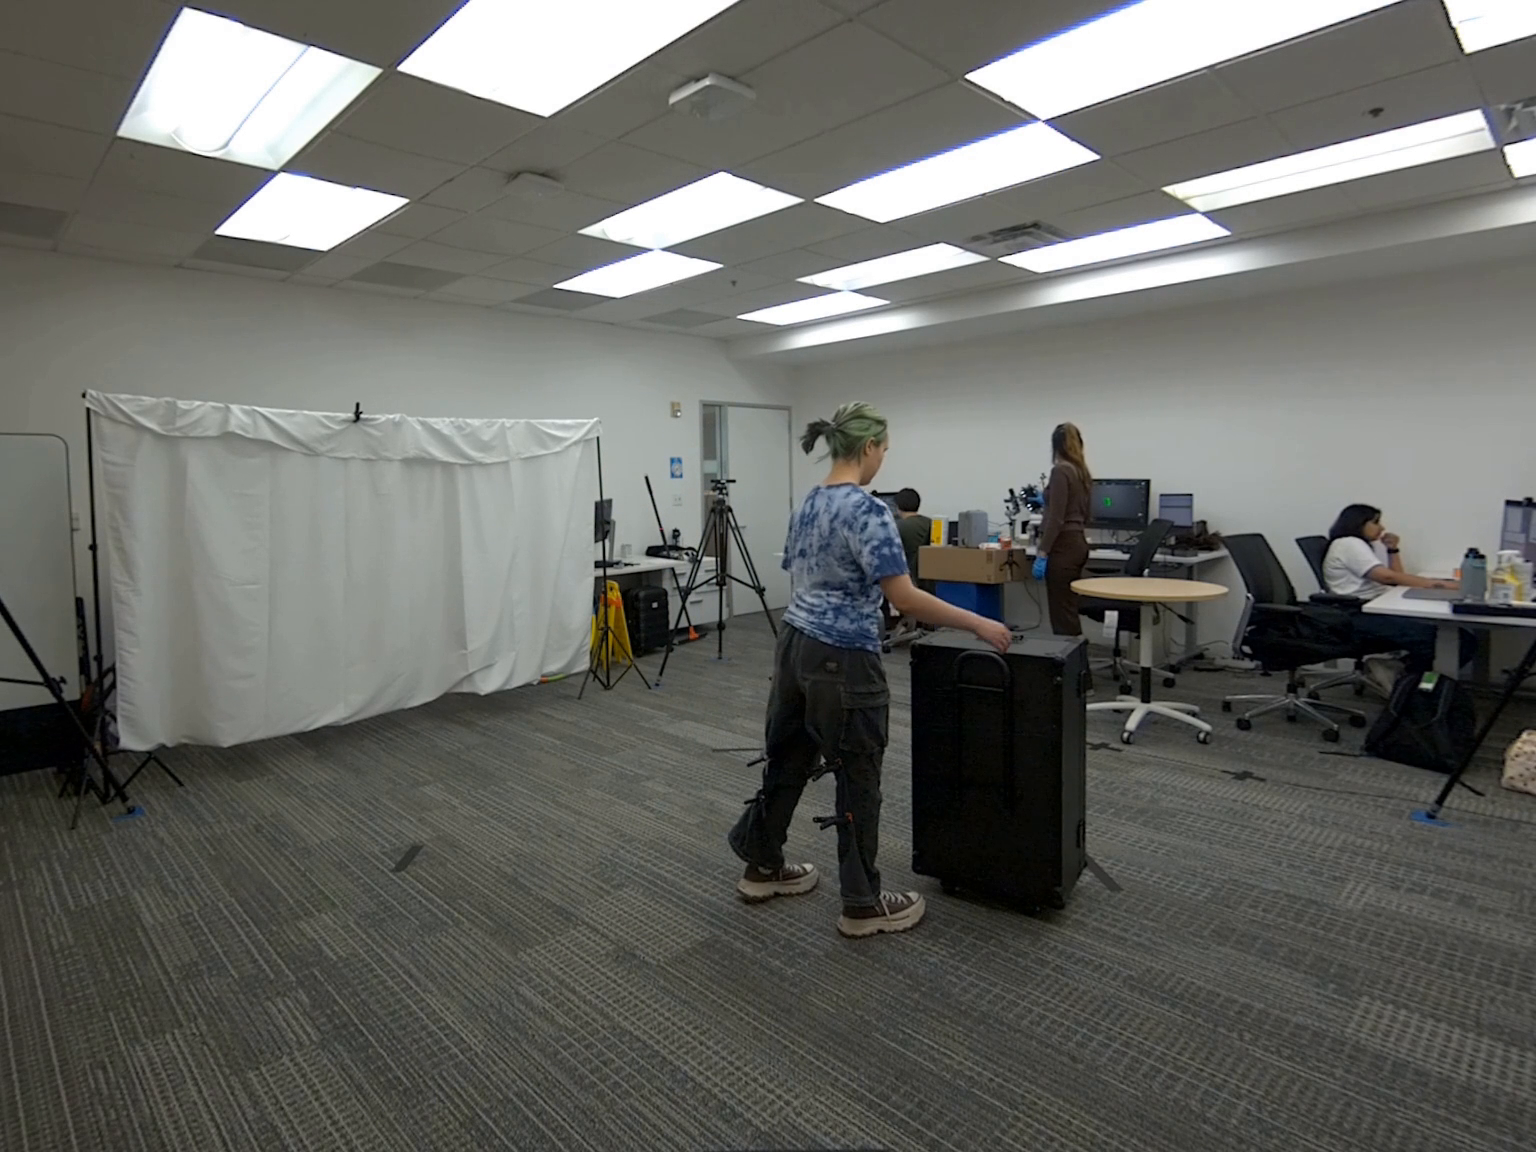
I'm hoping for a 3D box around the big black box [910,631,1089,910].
[{"bbox_3d":[0.779,0.635,2.847,0.536,0.858,0.387,2,6,33],"label":"big black box"}]
